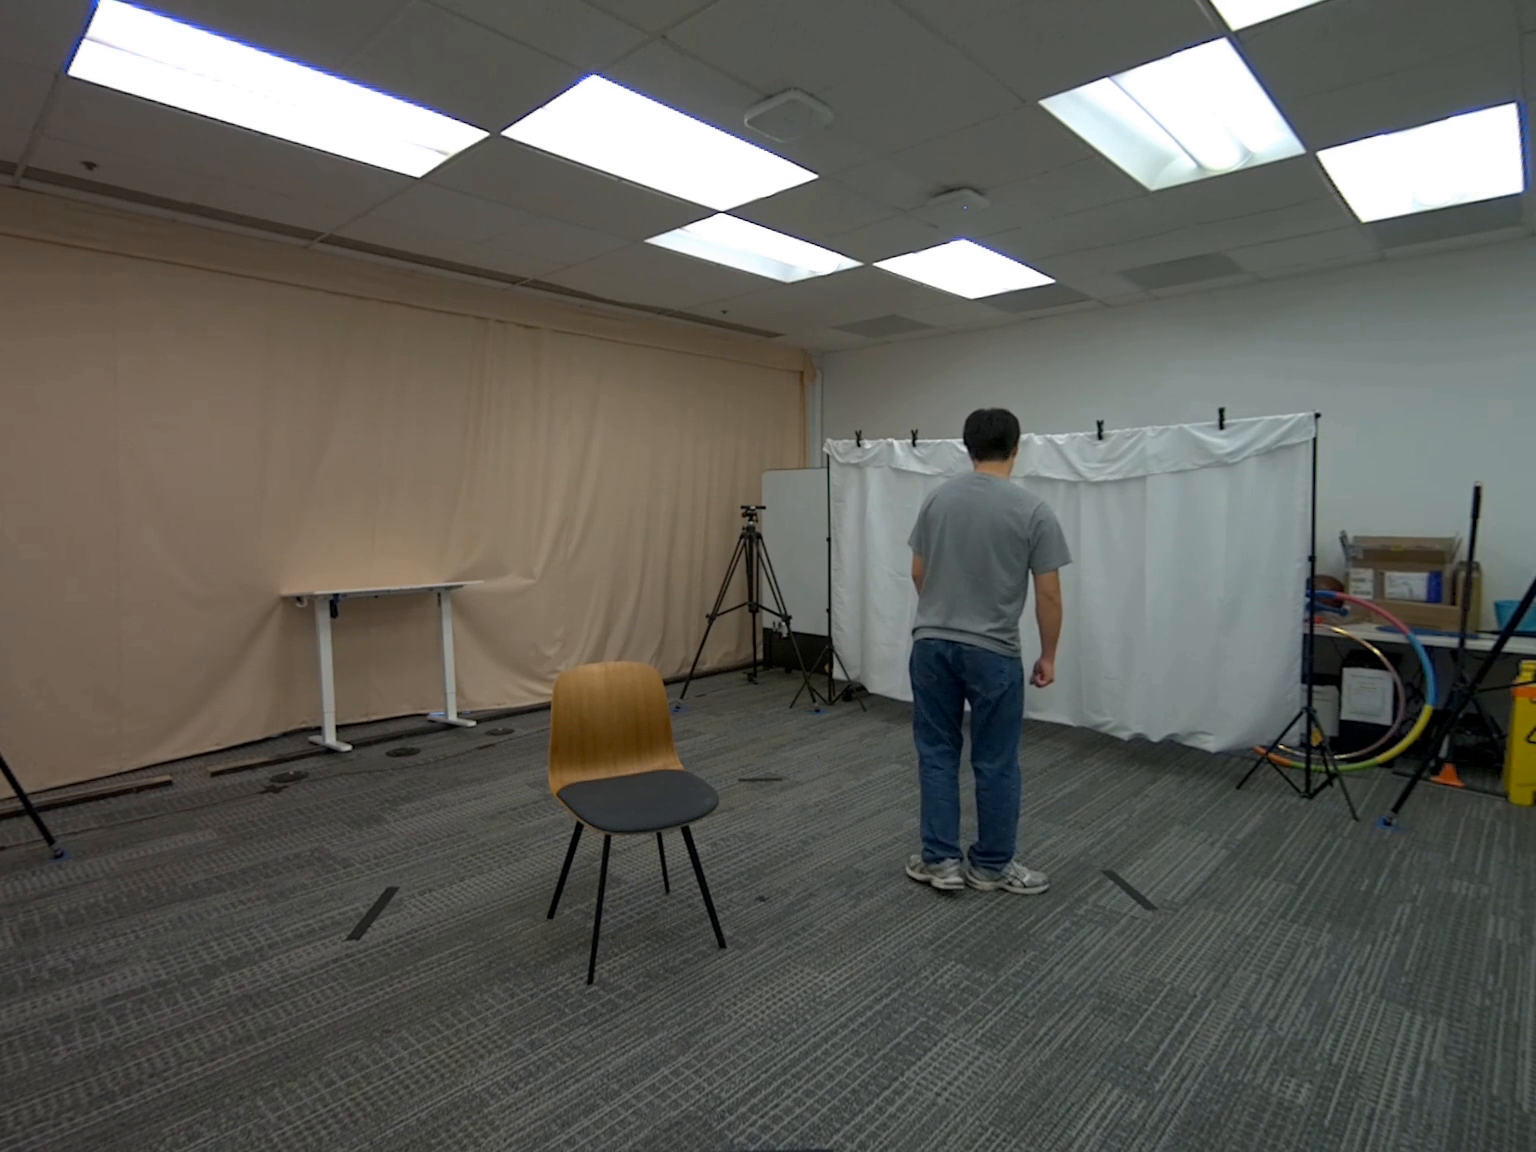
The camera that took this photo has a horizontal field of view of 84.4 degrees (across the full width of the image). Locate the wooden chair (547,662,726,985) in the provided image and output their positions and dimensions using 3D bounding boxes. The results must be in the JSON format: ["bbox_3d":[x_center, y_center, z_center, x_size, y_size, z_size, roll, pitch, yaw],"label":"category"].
[{"bbox_3d":[-0.432,0.740,2.714,0.466,0.878,0.536,-2,-1,-28],"label":"wooden chair"}]
